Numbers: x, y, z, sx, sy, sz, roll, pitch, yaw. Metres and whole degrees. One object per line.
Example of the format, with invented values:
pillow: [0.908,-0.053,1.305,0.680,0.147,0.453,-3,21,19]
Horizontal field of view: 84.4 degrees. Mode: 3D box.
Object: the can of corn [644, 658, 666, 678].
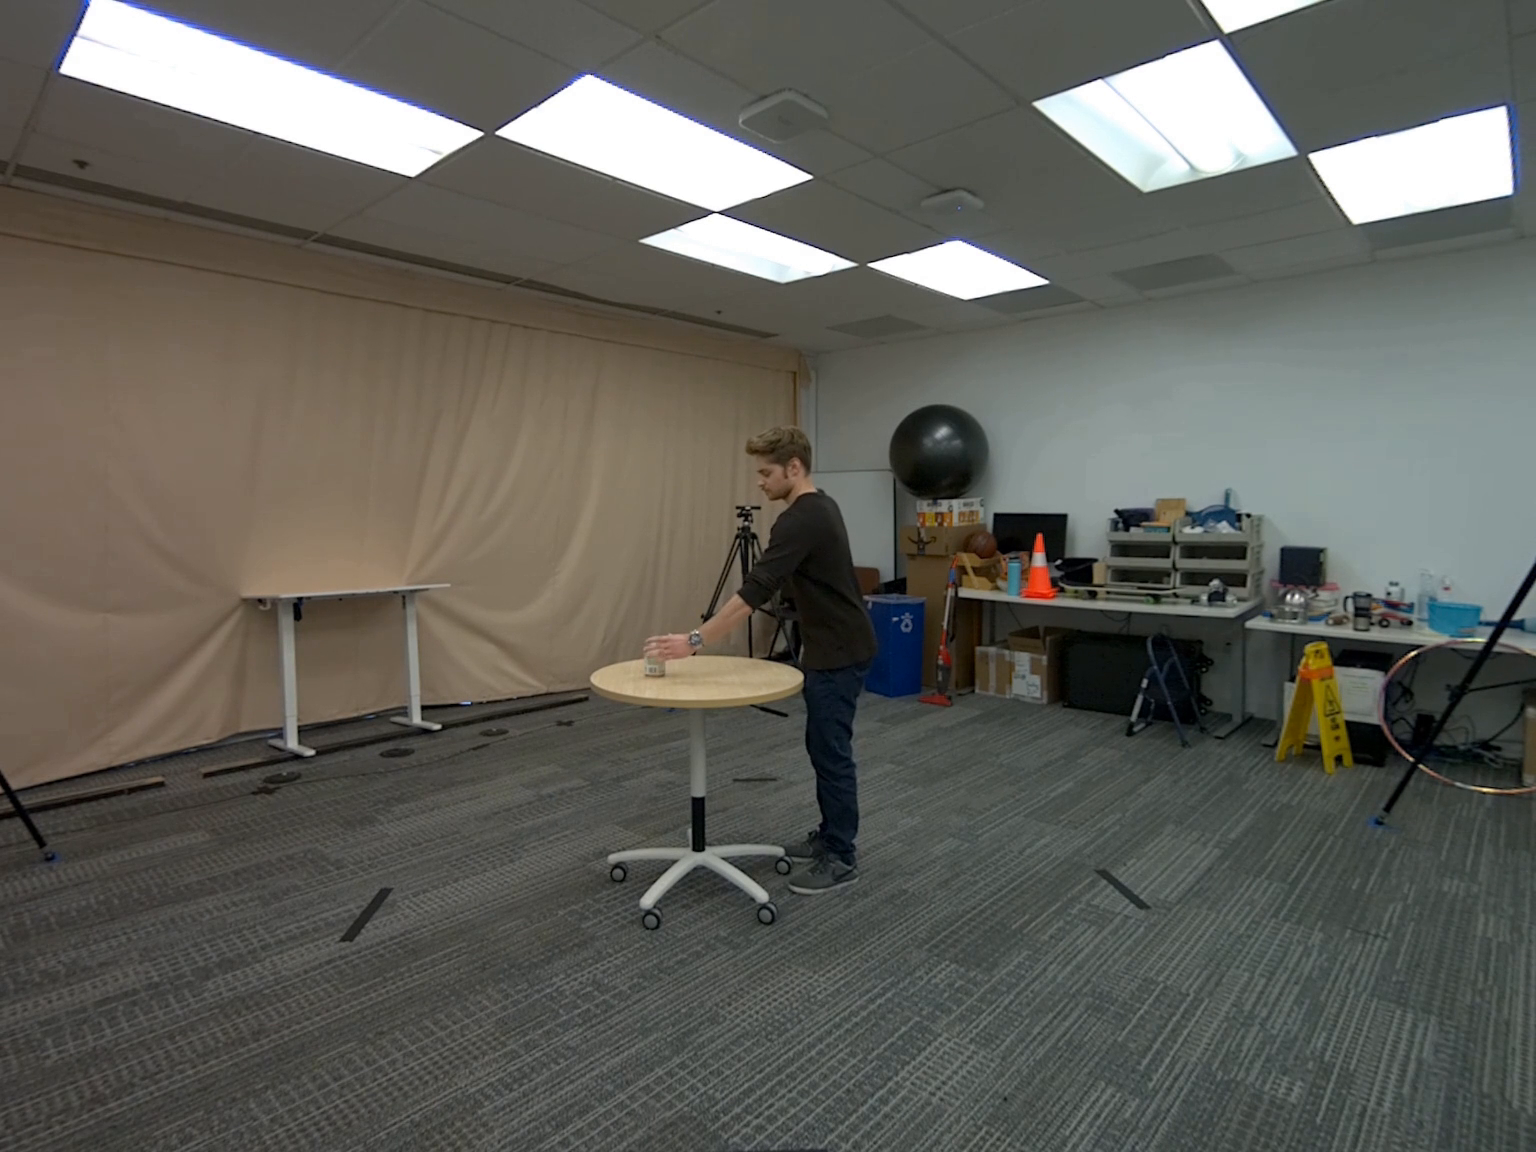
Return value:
can of corn: [-0.405,0.305,3.027,0.074,0.111,0.074,1,3,-2]
